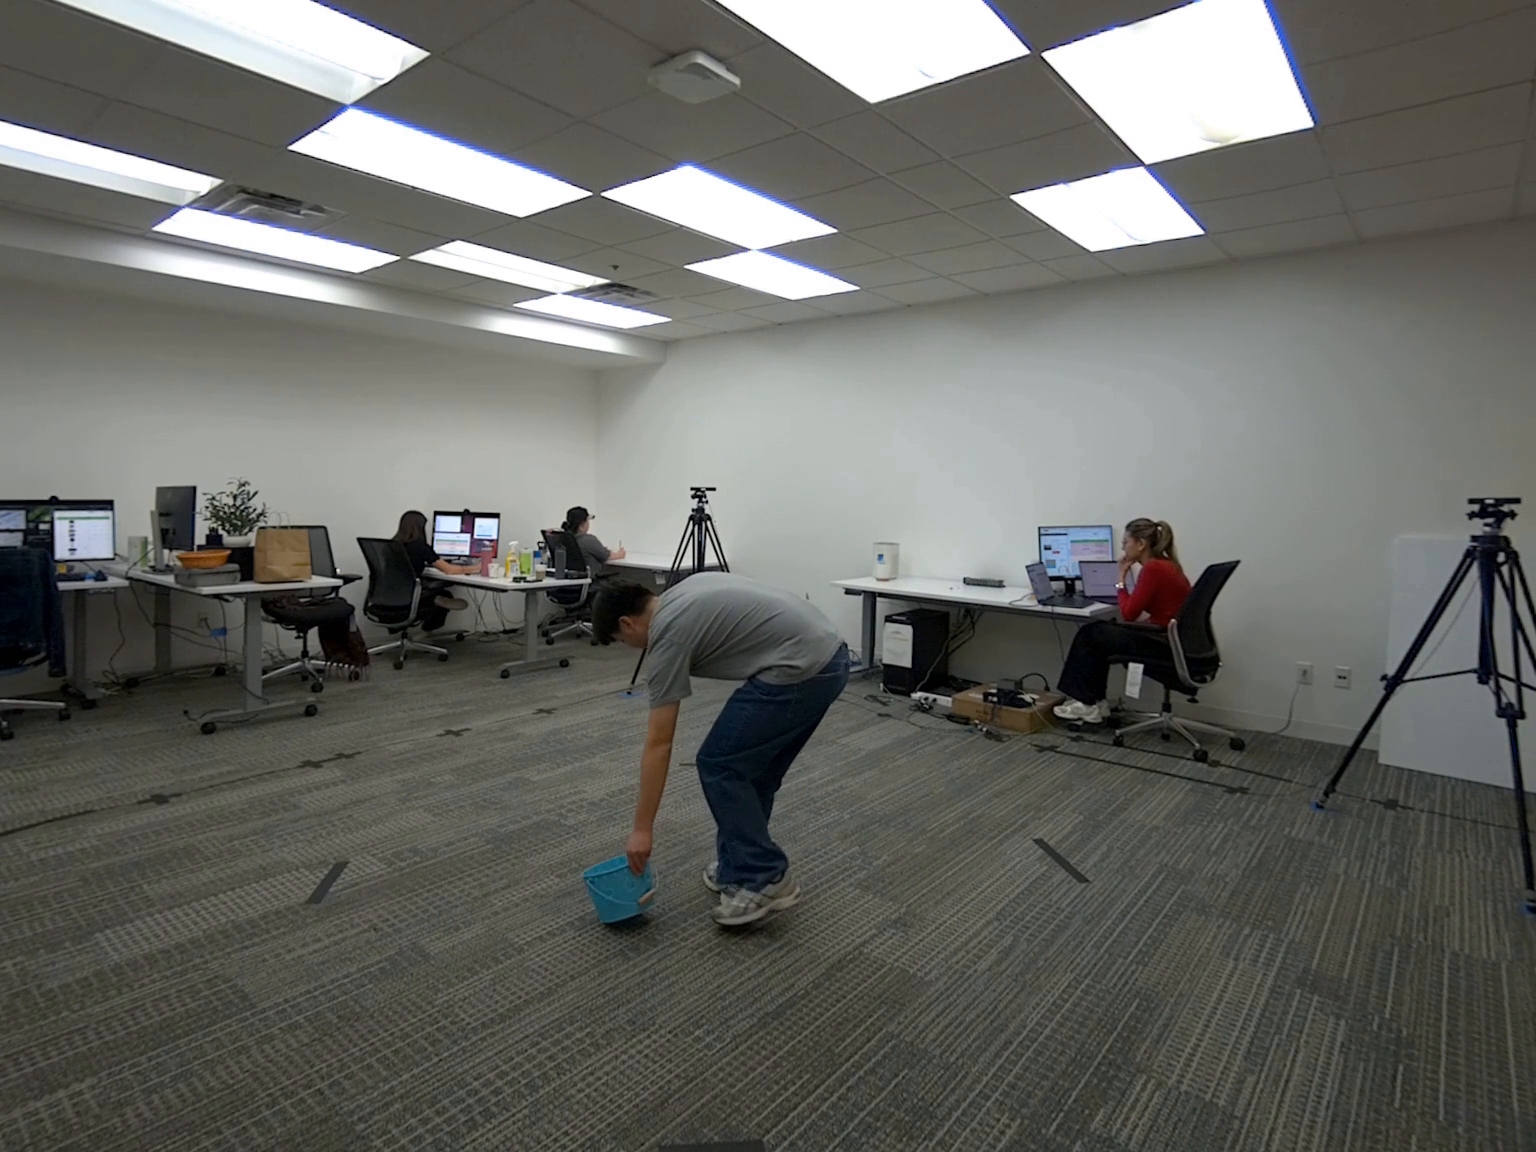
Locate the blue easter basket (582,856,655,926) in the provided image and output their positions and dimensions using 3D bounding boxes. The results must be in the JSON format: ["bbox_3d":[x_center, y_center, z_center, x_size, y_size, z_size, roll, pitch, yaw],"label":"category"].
[{"bbox_3d":[-0.476,0.996,2.715,0.243,0.158,0.241,-17,-9,-5],"label":"blue easter basket"}]
